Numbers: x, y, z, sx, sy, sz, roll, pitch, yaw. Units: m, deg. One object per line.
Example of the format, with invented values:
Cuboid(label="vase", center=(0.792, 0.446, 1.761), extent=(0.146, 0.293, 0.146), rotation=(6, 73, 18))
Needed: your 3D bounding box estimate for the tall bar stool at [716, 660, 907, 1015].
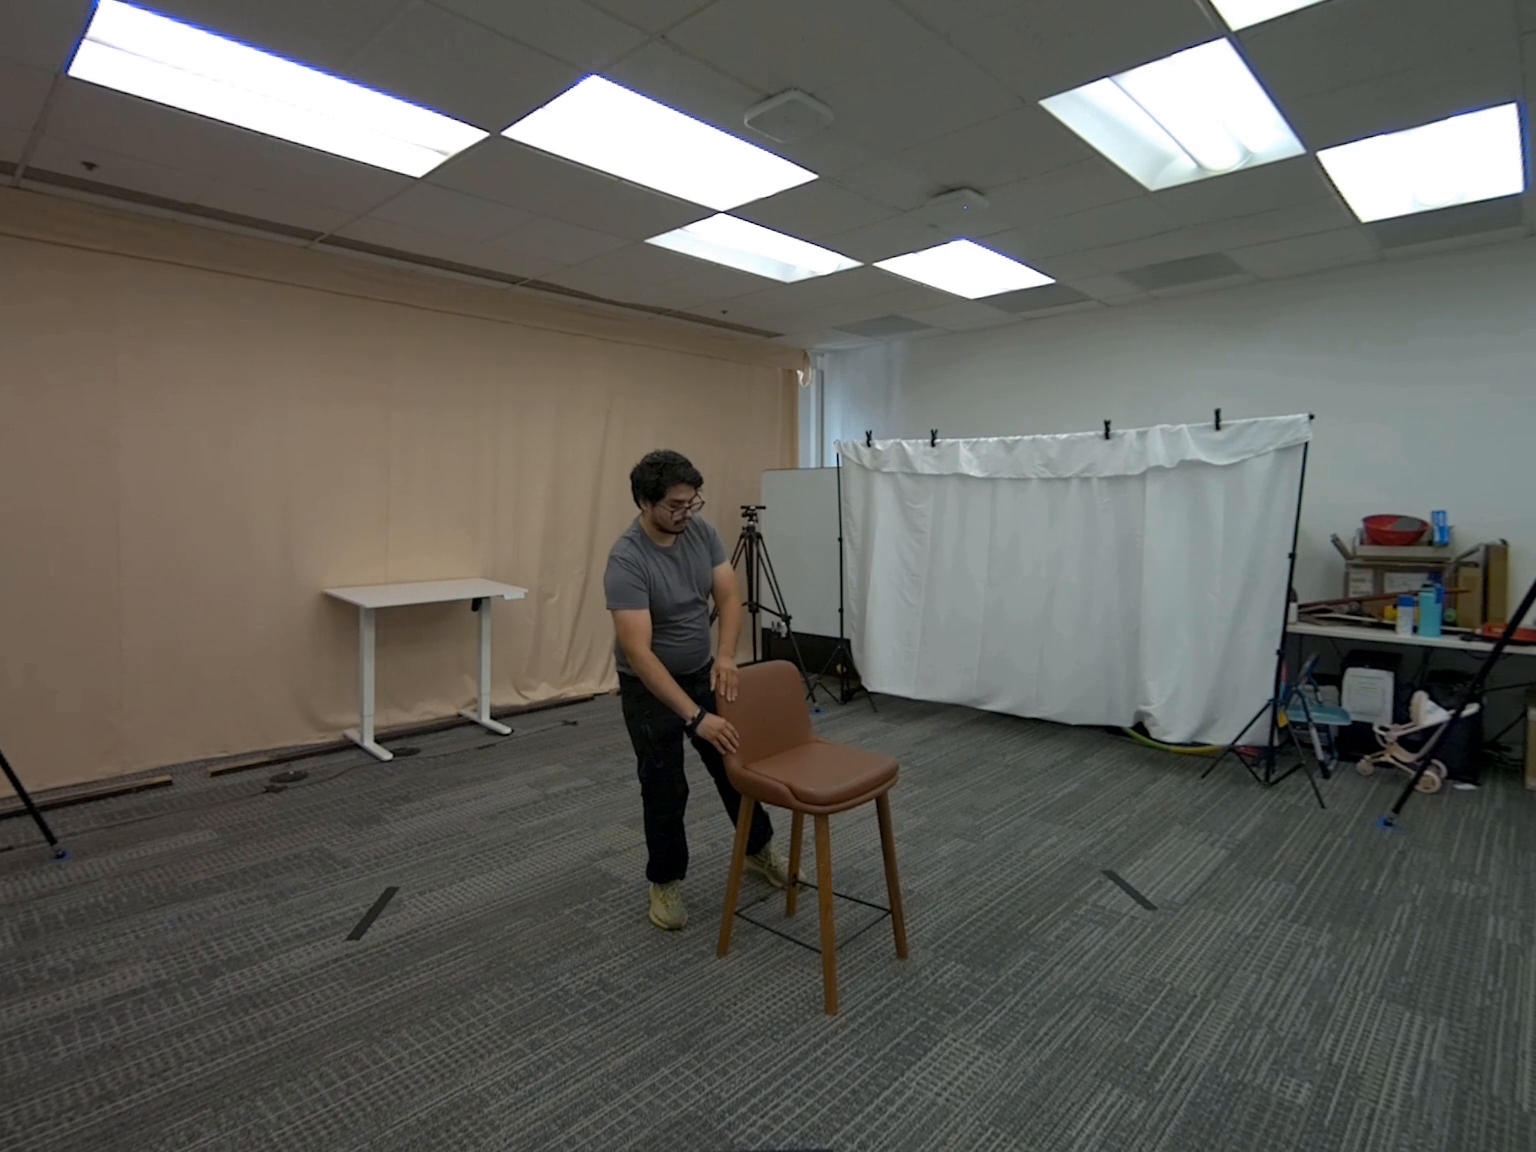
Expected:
Cuboid(label="tall bar stool", center=(0.127, 0.739, 2.583), extent=(0.483, 0.889, 0.442), rotation=(0, 2, 41))
